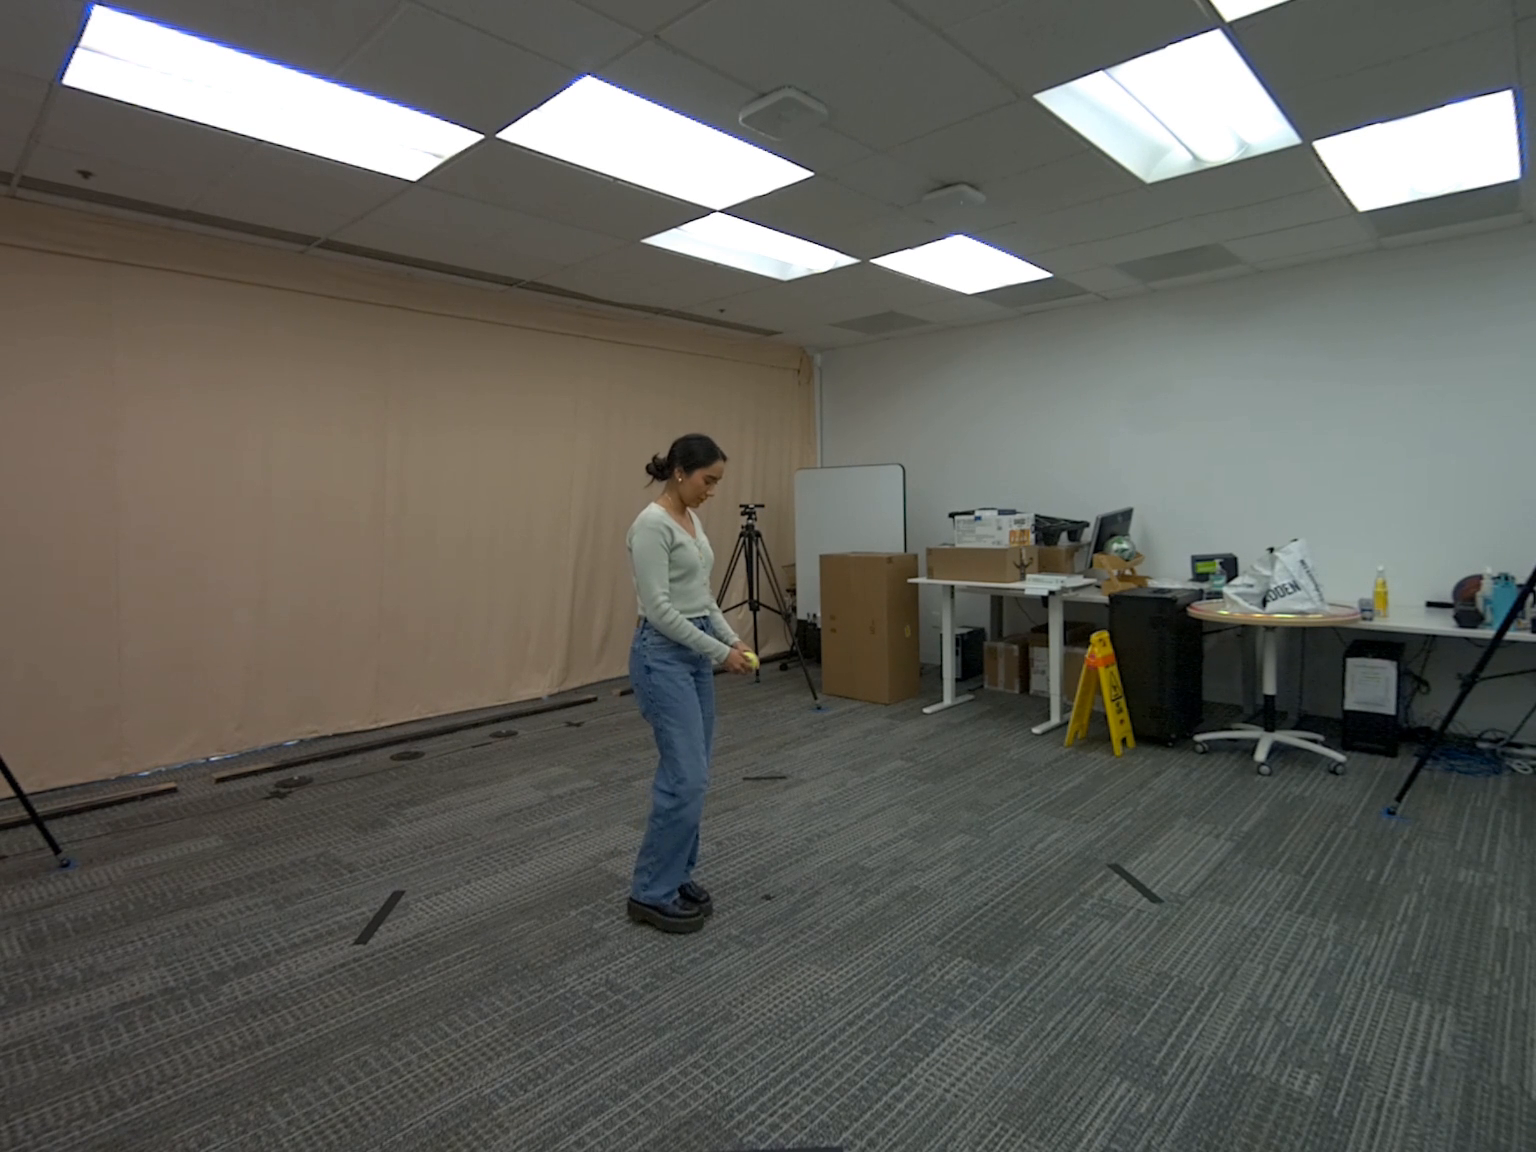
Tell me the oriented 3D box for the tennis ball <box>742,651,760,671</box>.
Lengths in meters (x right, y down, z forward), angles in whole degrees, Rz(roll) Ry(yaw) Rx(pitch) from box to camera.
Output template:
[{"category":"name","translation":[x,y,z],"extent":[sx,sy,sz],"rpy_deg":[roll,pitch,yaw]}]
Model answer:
[{"category":"tennis ball","translation":[-0.075,0.293,2.858],"extent":[0.066,0.066,0.067],"rpy_deg":[-1,4,-2]}]
